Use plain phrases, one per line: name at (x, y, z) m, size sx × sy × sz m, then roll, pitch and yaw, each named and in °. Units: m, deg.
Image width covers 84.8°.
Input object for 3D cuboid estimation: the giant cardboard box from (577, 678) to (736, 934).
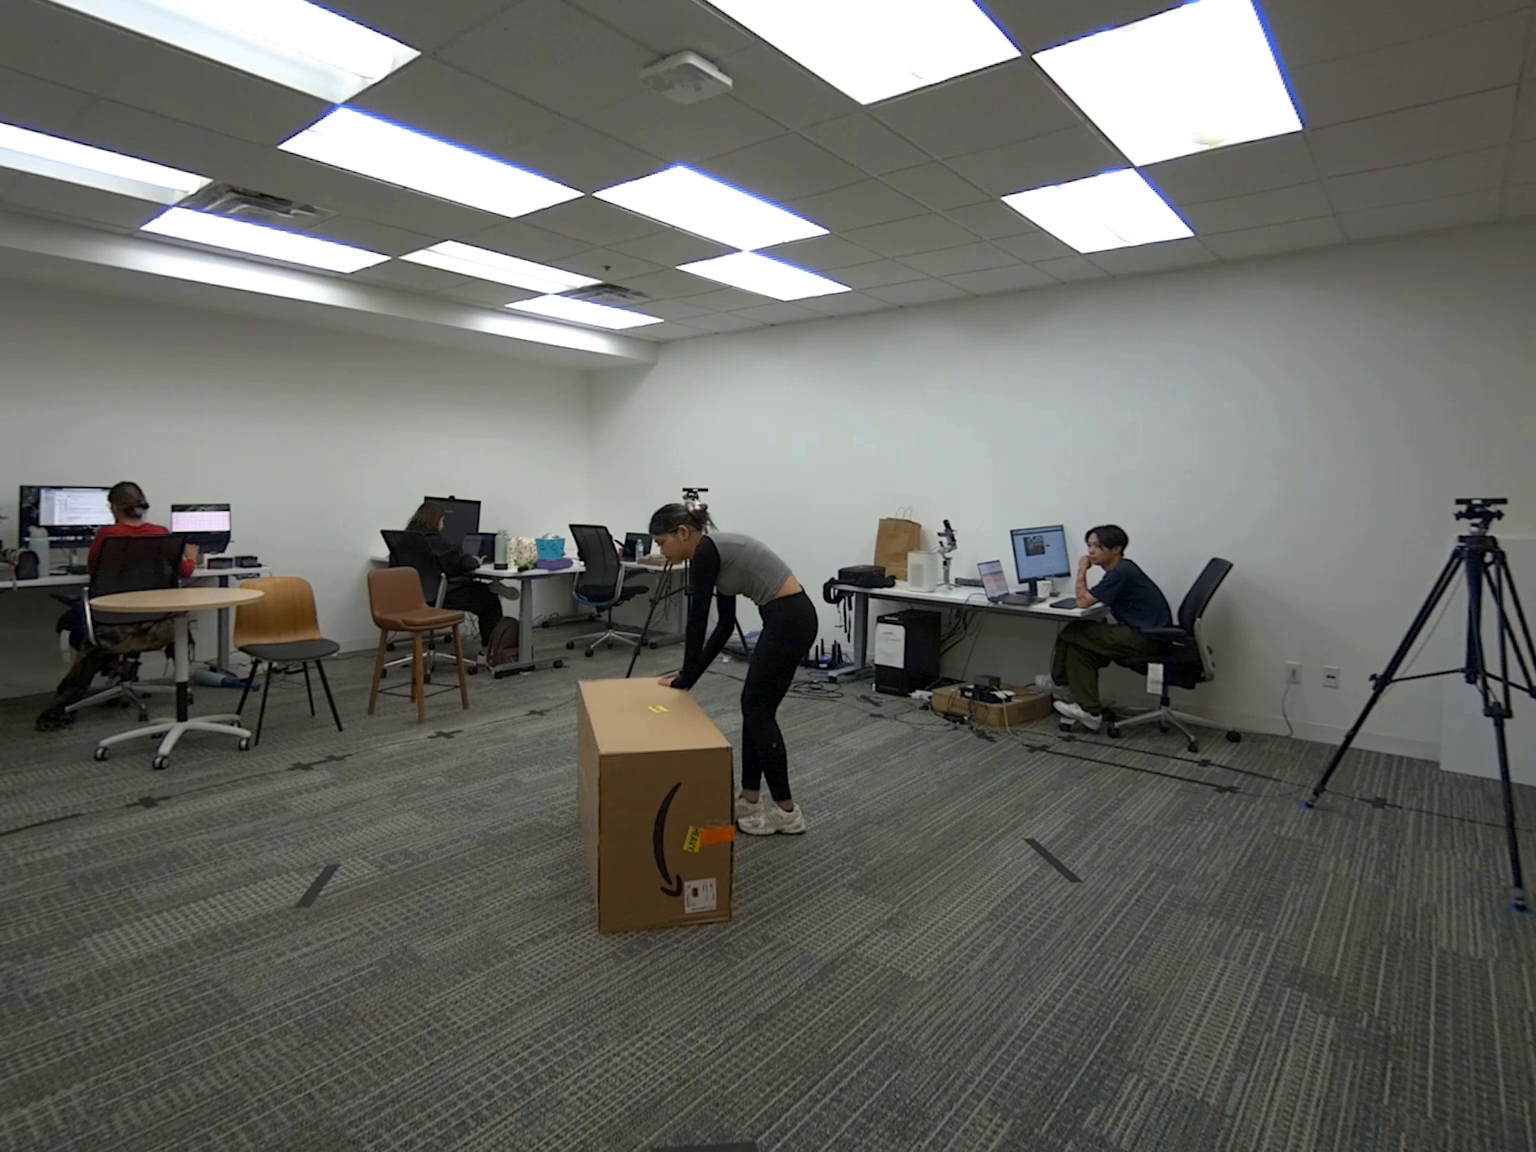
giant cardboard box at (-0.470, 0.771, 3.155) m, size 0.439 × 0.582 × 1.048 m, roll 1°, pitch 5°, yaw -17°
